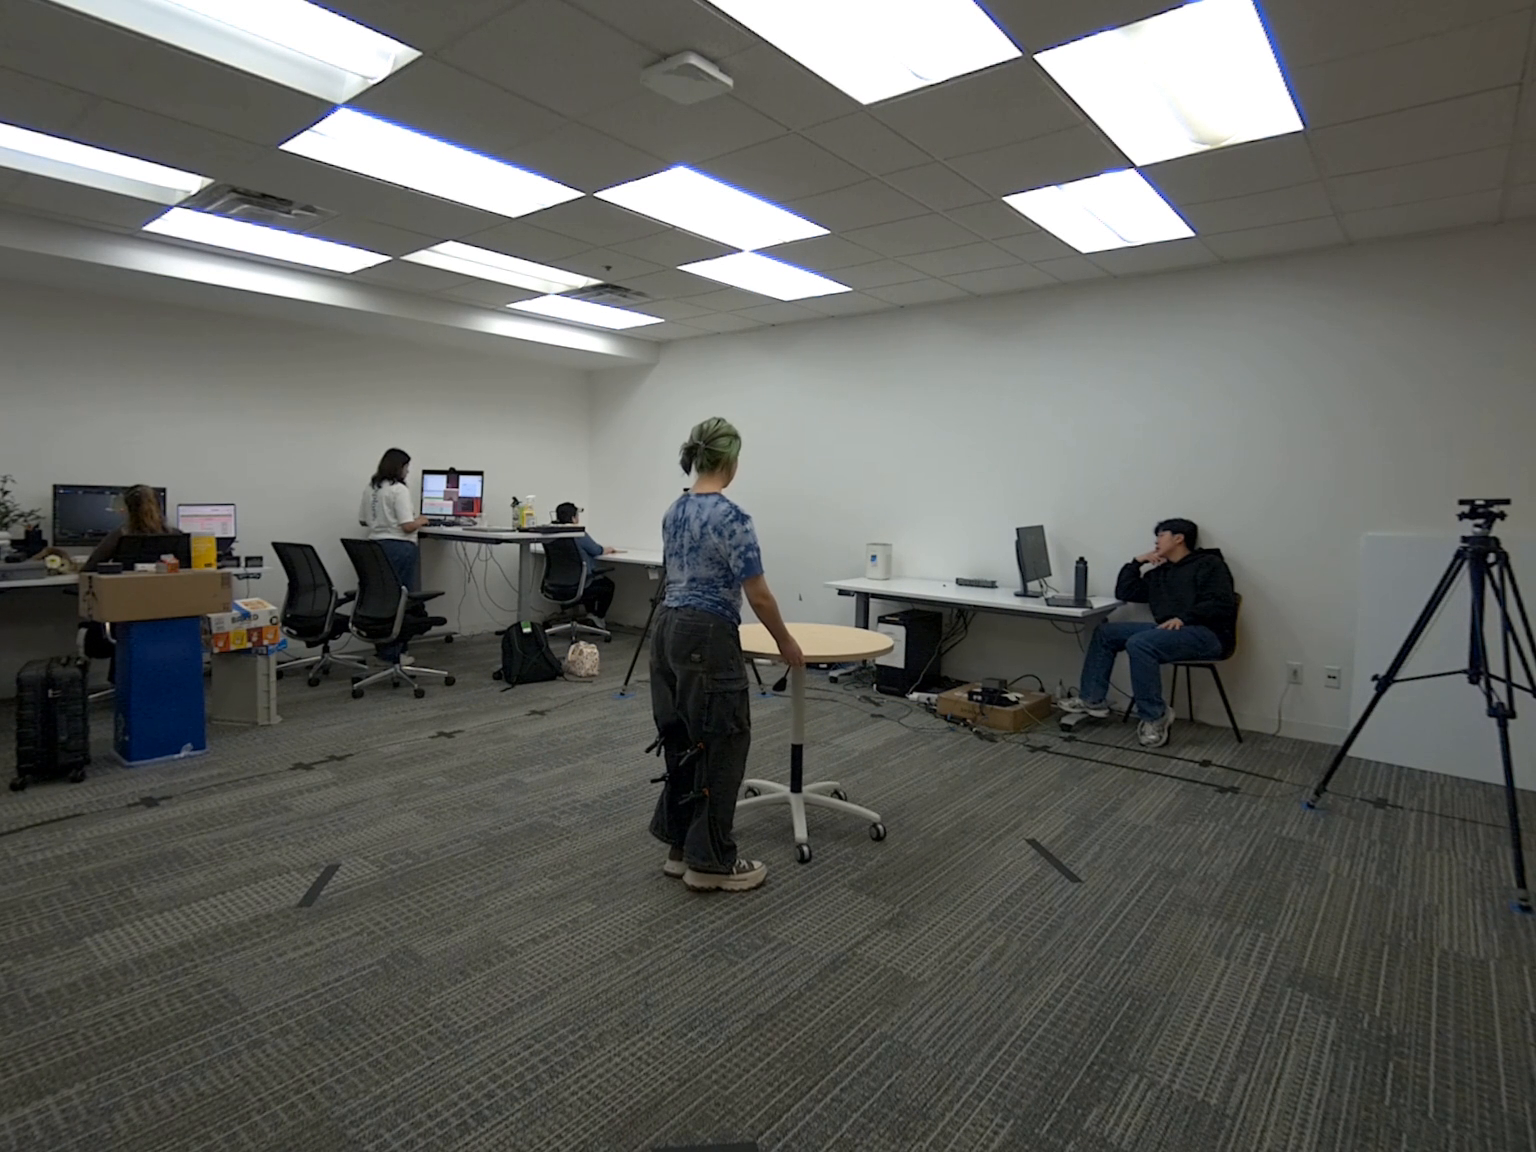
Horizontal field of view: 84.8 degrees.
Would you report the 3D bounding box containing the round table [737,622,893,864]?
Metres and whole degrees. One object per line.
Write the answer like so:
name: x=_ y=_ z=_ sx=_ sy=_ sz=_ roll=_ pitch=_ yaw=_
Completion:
round table: x=0.110 y=0.644 z=3.523 sx=0.763 sy=0.792 sz=0.767 roll=1 pitch=4 yaw=-2
